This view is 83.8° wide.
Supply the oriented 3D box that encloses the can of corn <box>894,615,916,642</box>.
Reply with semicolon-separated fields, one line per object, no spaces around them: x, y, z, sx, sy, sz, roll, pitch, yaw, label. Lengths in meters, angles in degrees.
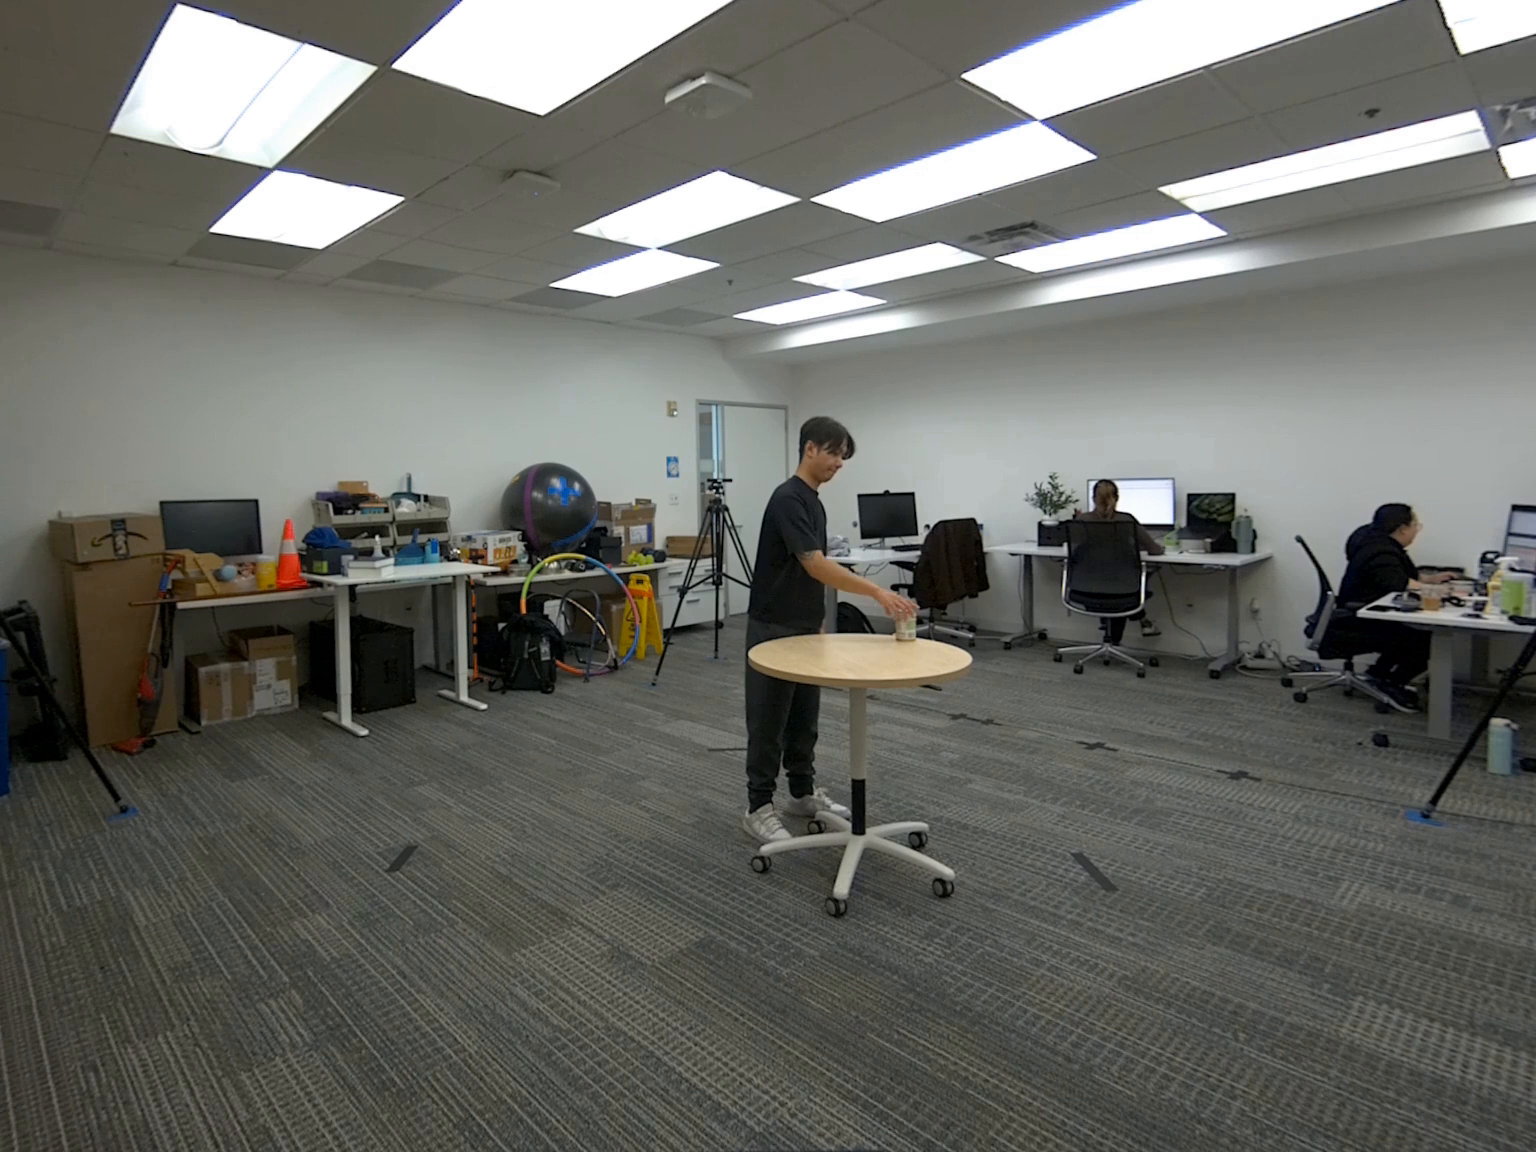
0.525;0.183;3.213;0.074;0.111;0.074;-3;3;-2;can of corn
